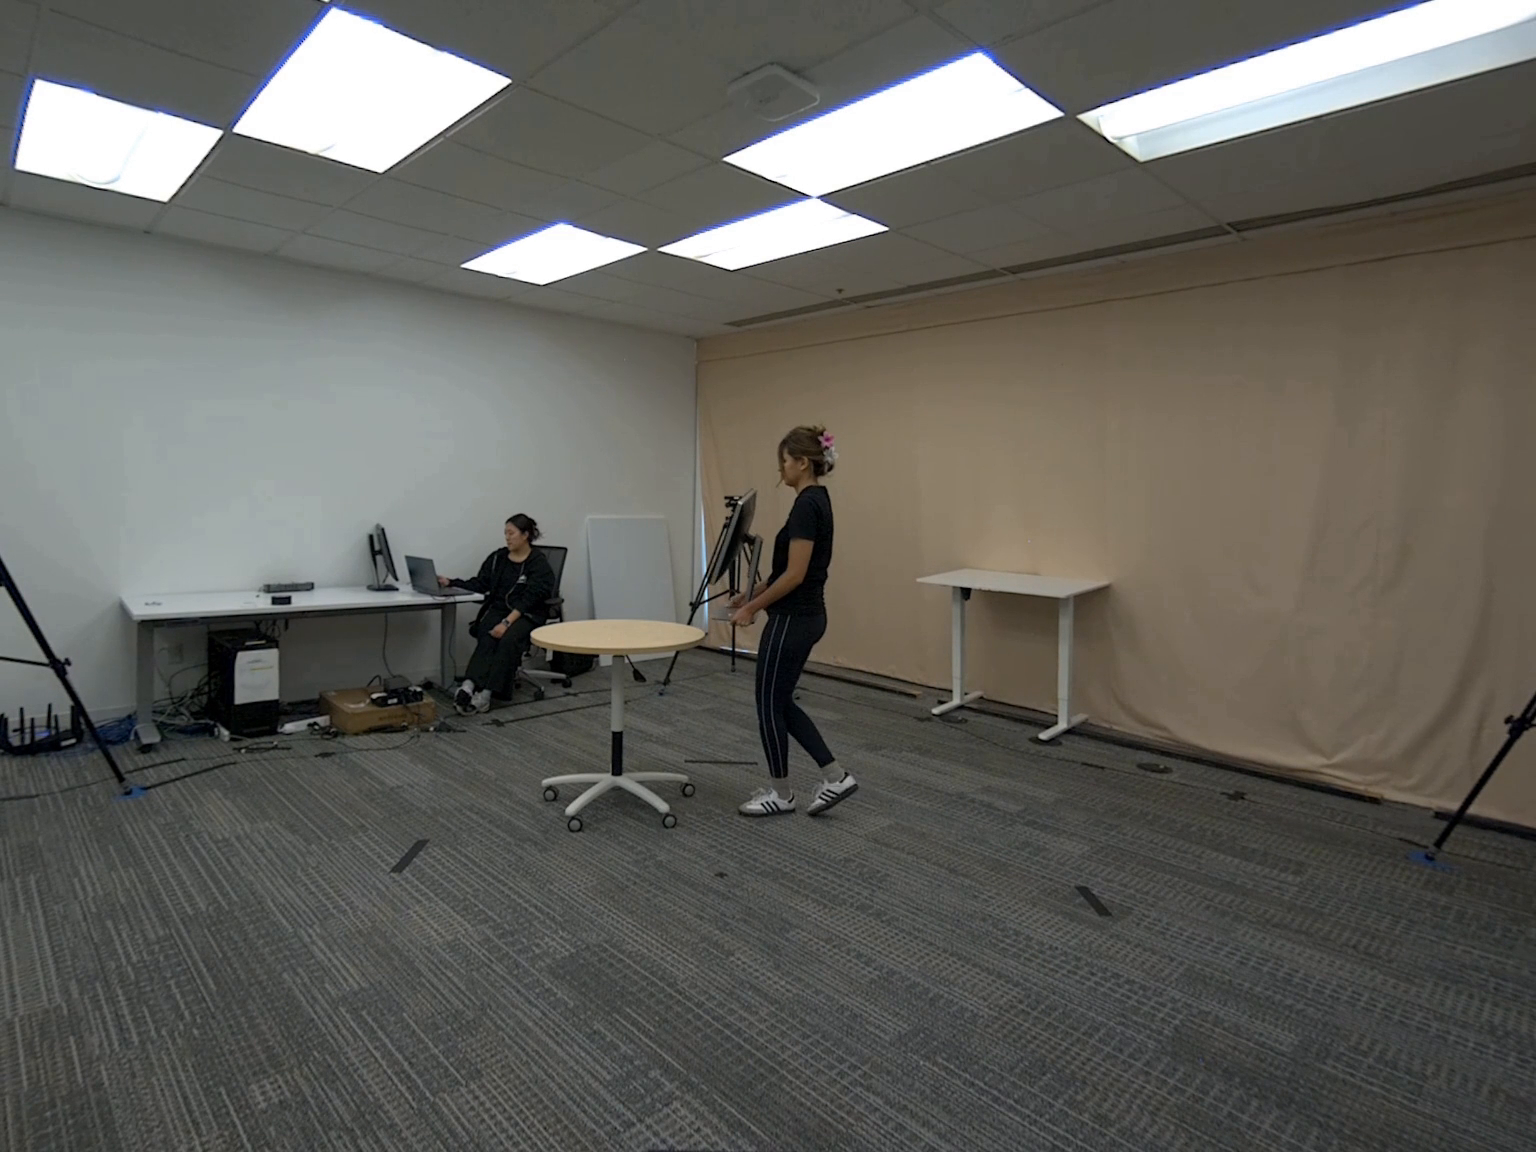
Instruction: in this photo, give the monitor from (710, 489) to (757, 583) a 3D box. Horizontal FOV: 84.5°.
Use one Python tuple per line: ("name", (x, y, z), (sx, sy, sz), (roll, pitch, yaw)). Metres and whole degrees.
("monitor", (-0.125, -0.081, 3.674), (0.187, 0.519, 0.542), (7, 12, 1))
